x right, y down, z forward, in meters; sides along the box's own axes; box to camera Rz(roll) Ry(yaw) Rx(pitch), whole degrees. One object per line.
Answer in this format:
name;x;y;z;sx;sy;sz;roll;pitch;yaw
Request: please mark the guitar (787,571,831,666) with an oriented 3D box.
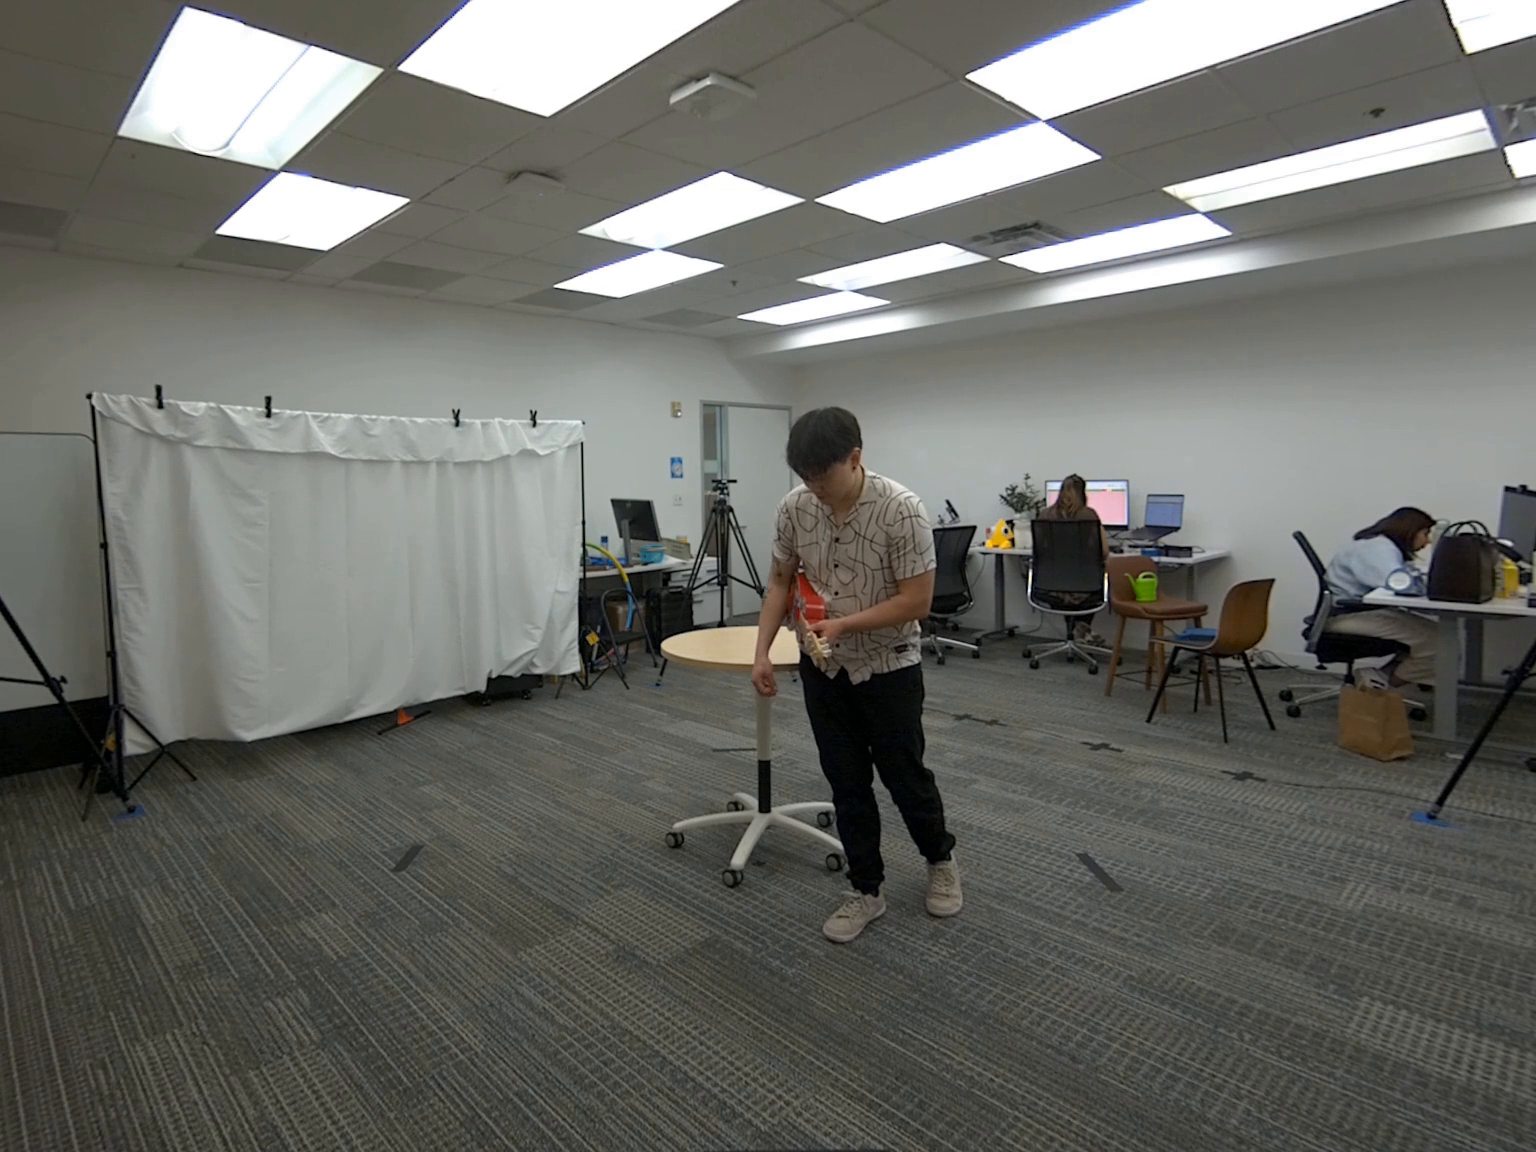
guitar;0.135;0.174;2.465;0.070;0.189;0.510;4;26;-9
